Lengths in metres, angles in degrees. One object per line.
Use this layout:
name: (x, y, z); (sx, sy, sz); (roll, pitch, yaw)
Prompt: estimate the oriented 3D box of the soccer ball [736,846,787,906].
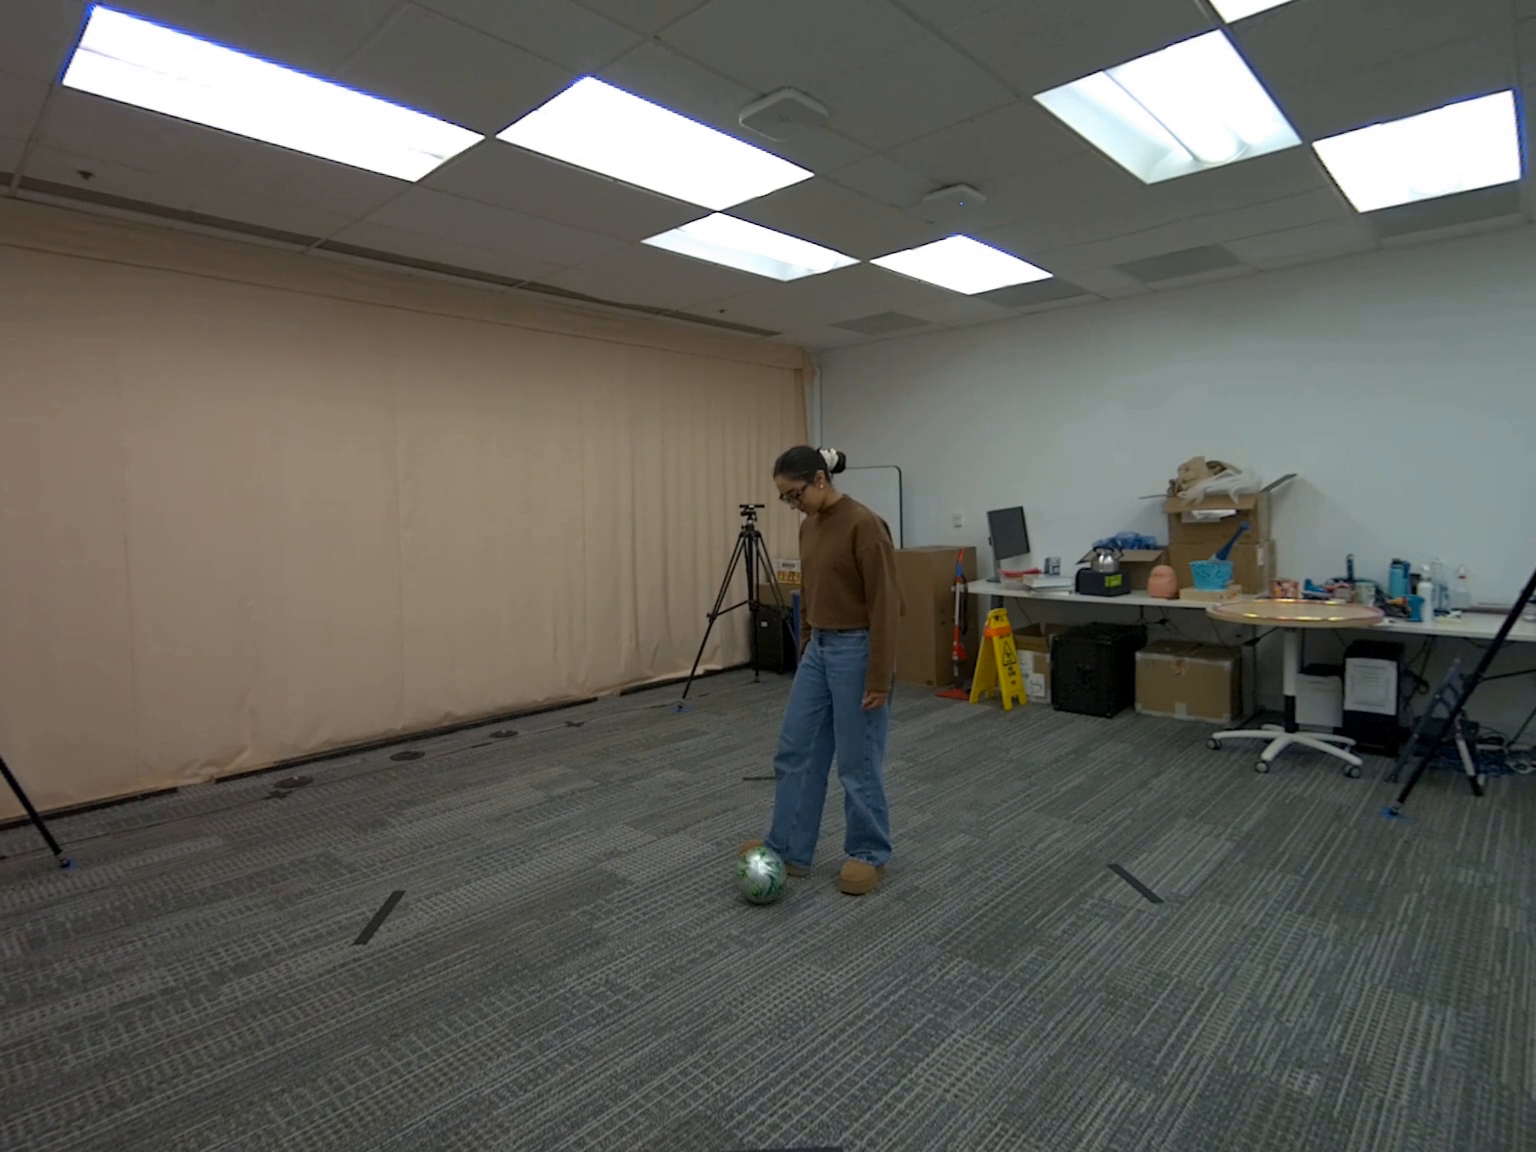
soccer ball: (-0.024, 1.047, 2.958); (0.187, 0.187, 0.188); (-1, 4, -2)
